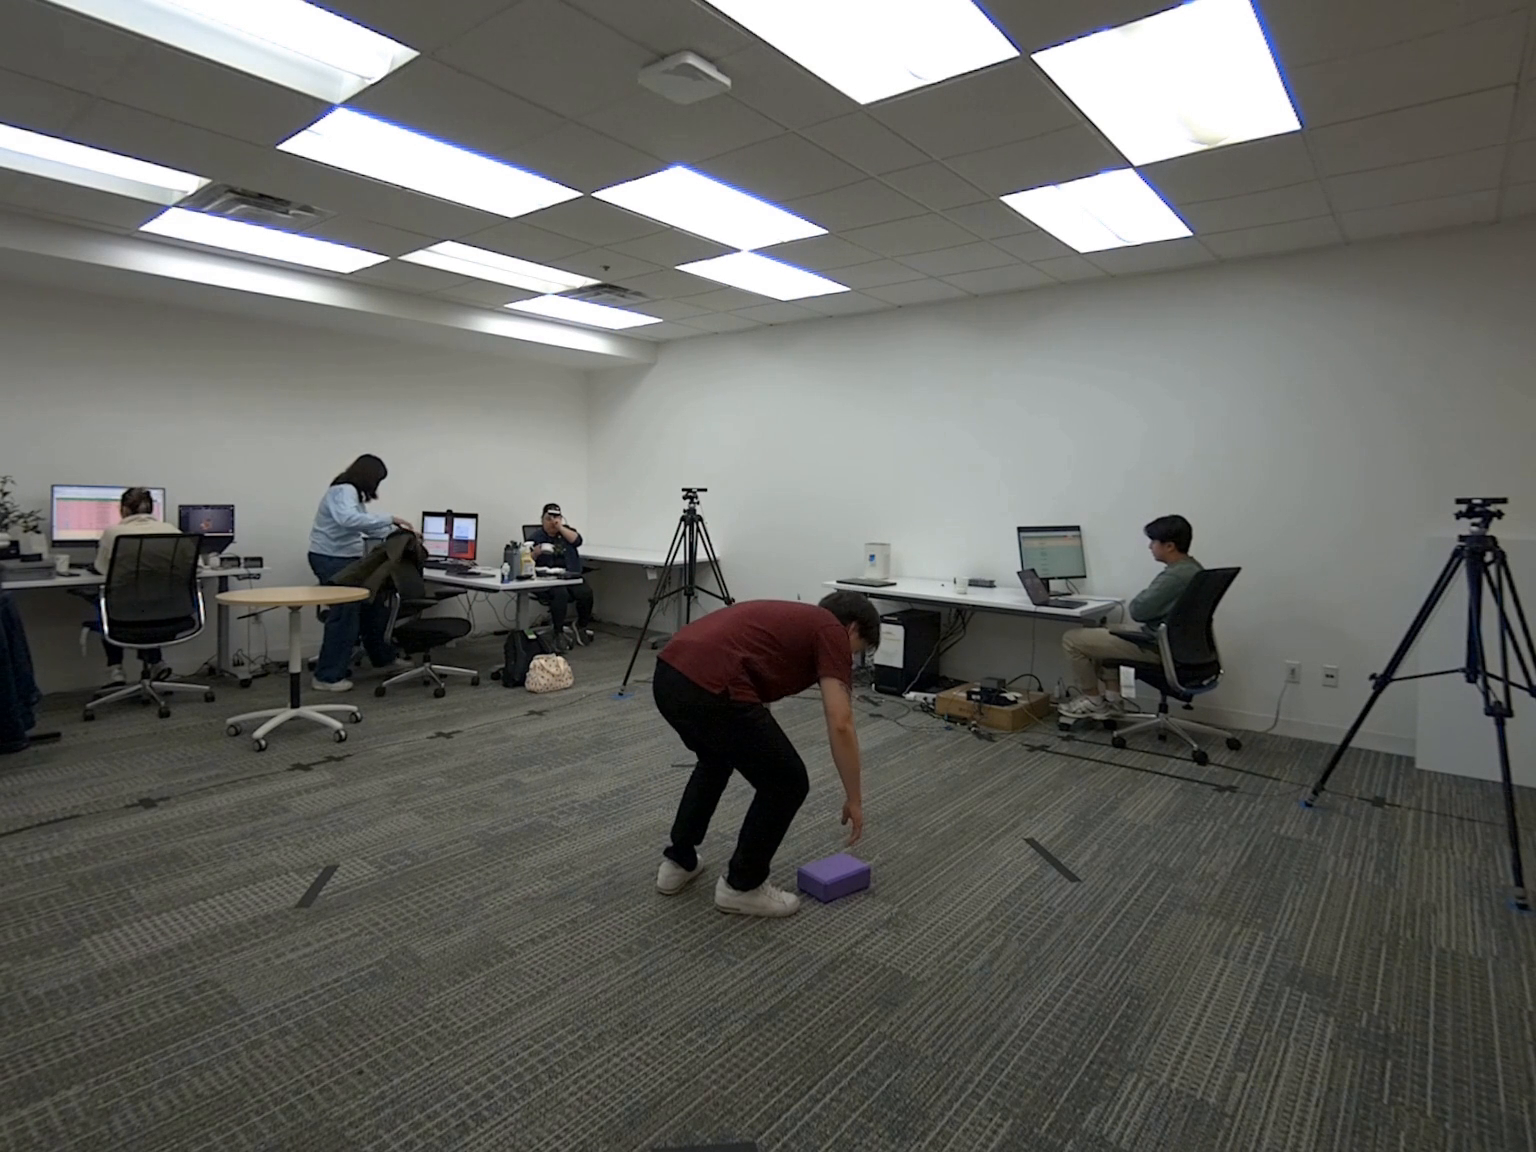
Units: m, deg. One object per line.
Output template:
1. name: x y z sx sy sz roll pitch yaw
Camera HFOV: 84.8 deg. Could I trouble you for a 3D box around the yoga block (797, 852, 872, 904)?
1. yoga block: 0.224 1.054 2.978 0.222 0.076 0.154 -3 7 -39
